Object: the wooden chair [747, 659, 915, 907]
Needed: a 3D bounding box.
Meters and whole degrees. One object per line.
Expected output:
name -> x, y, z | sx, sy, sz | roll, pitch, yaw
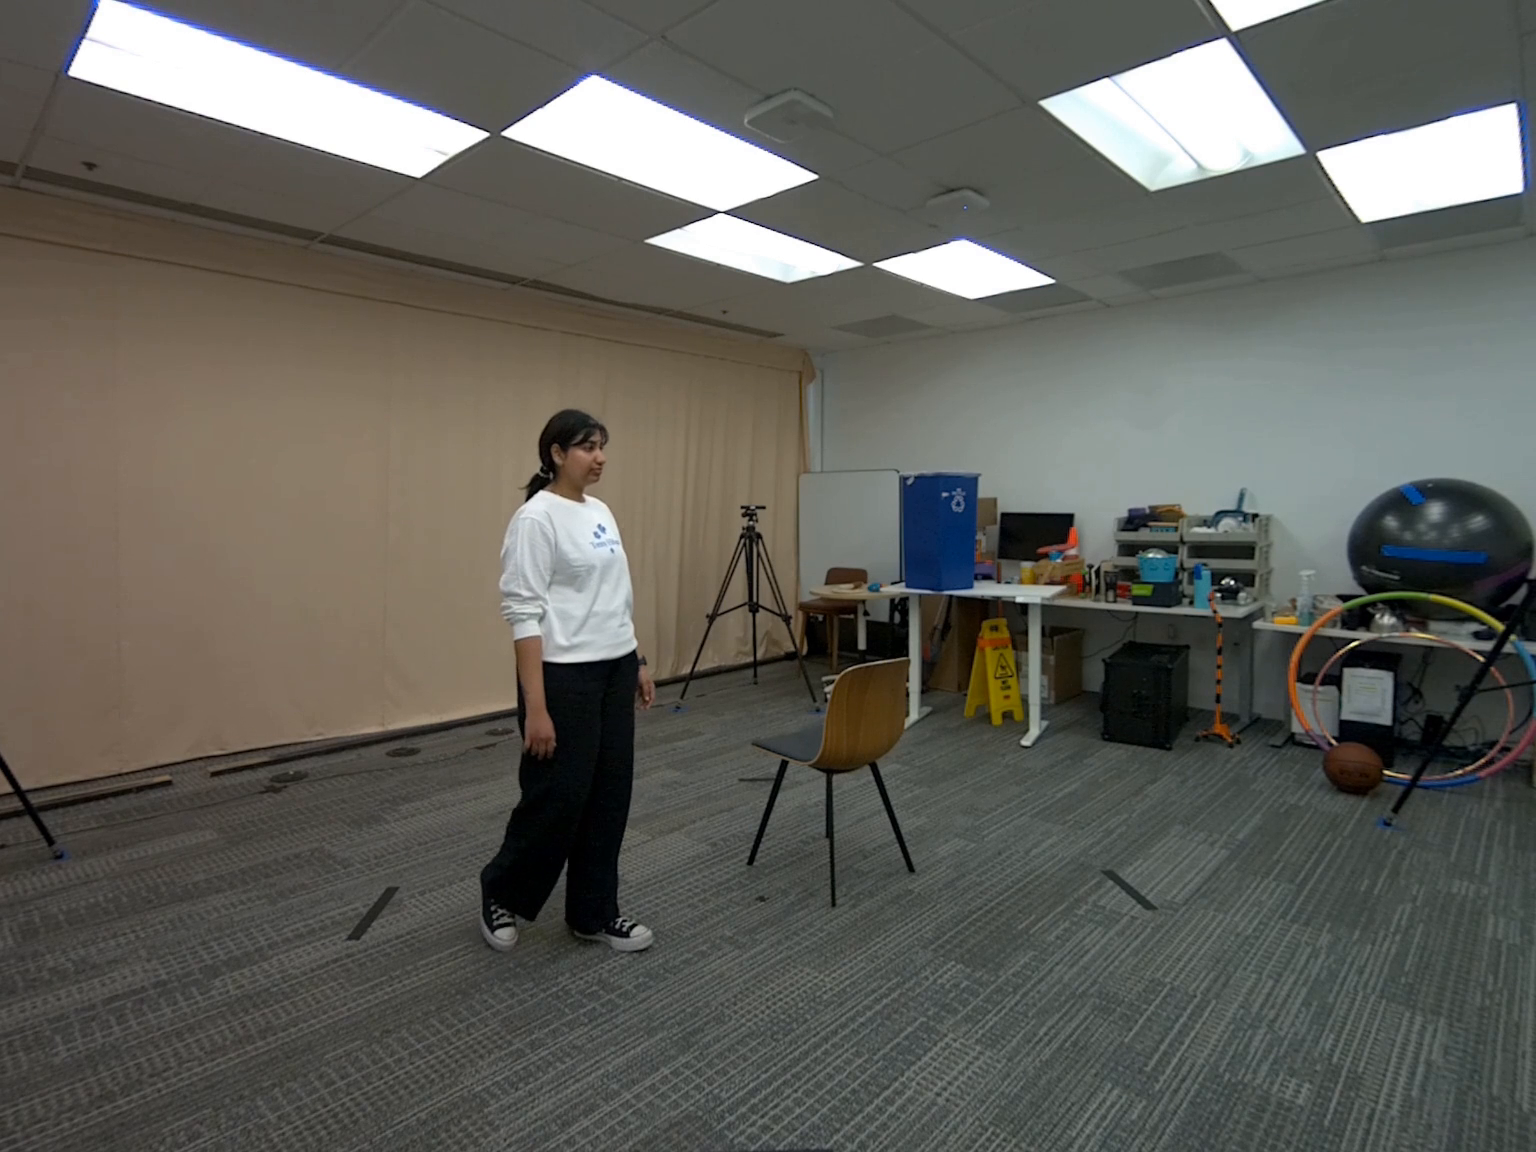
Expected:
wooden chair -> 0.237, 0.696, 3.205 | 0.463, 0.874, 0.541 | -3, 9, -41
